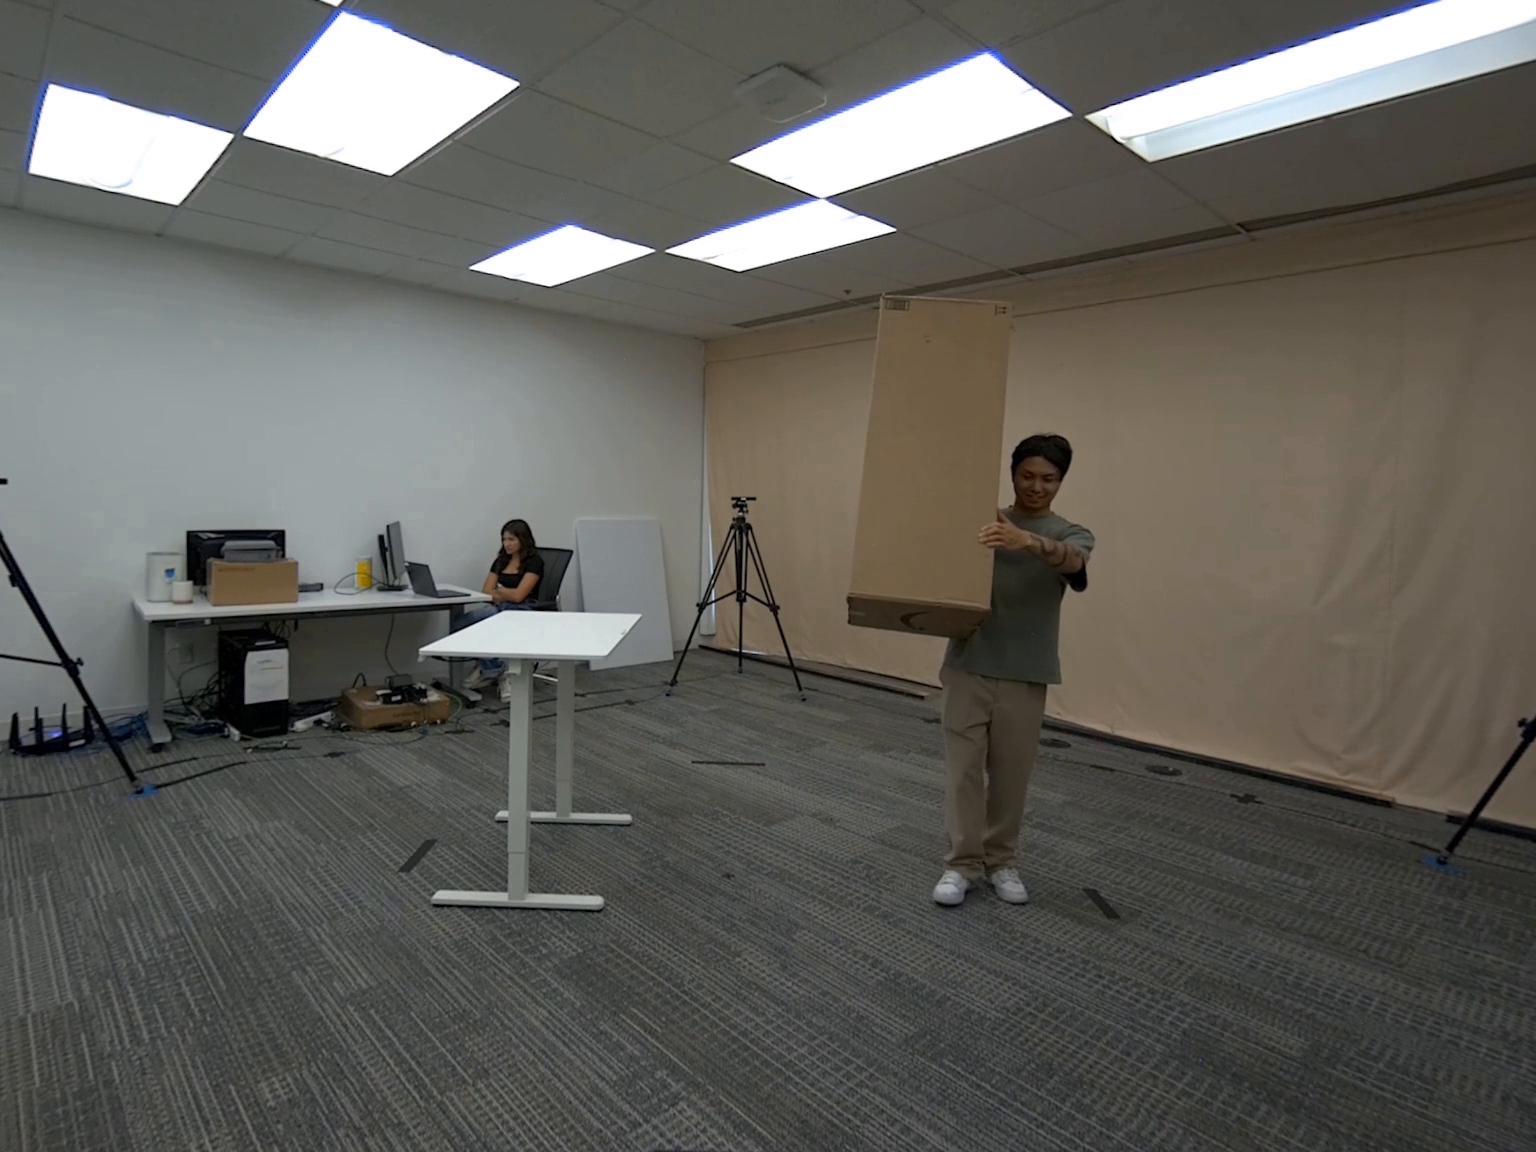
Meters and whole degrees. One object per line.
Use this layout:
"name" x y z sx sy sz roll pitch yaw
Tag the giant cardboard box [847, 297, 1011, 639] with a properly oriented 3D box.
"giant cardboard box" 0.541 -0.348 2.891 0.430 1.035 0.568 6 -14 8
